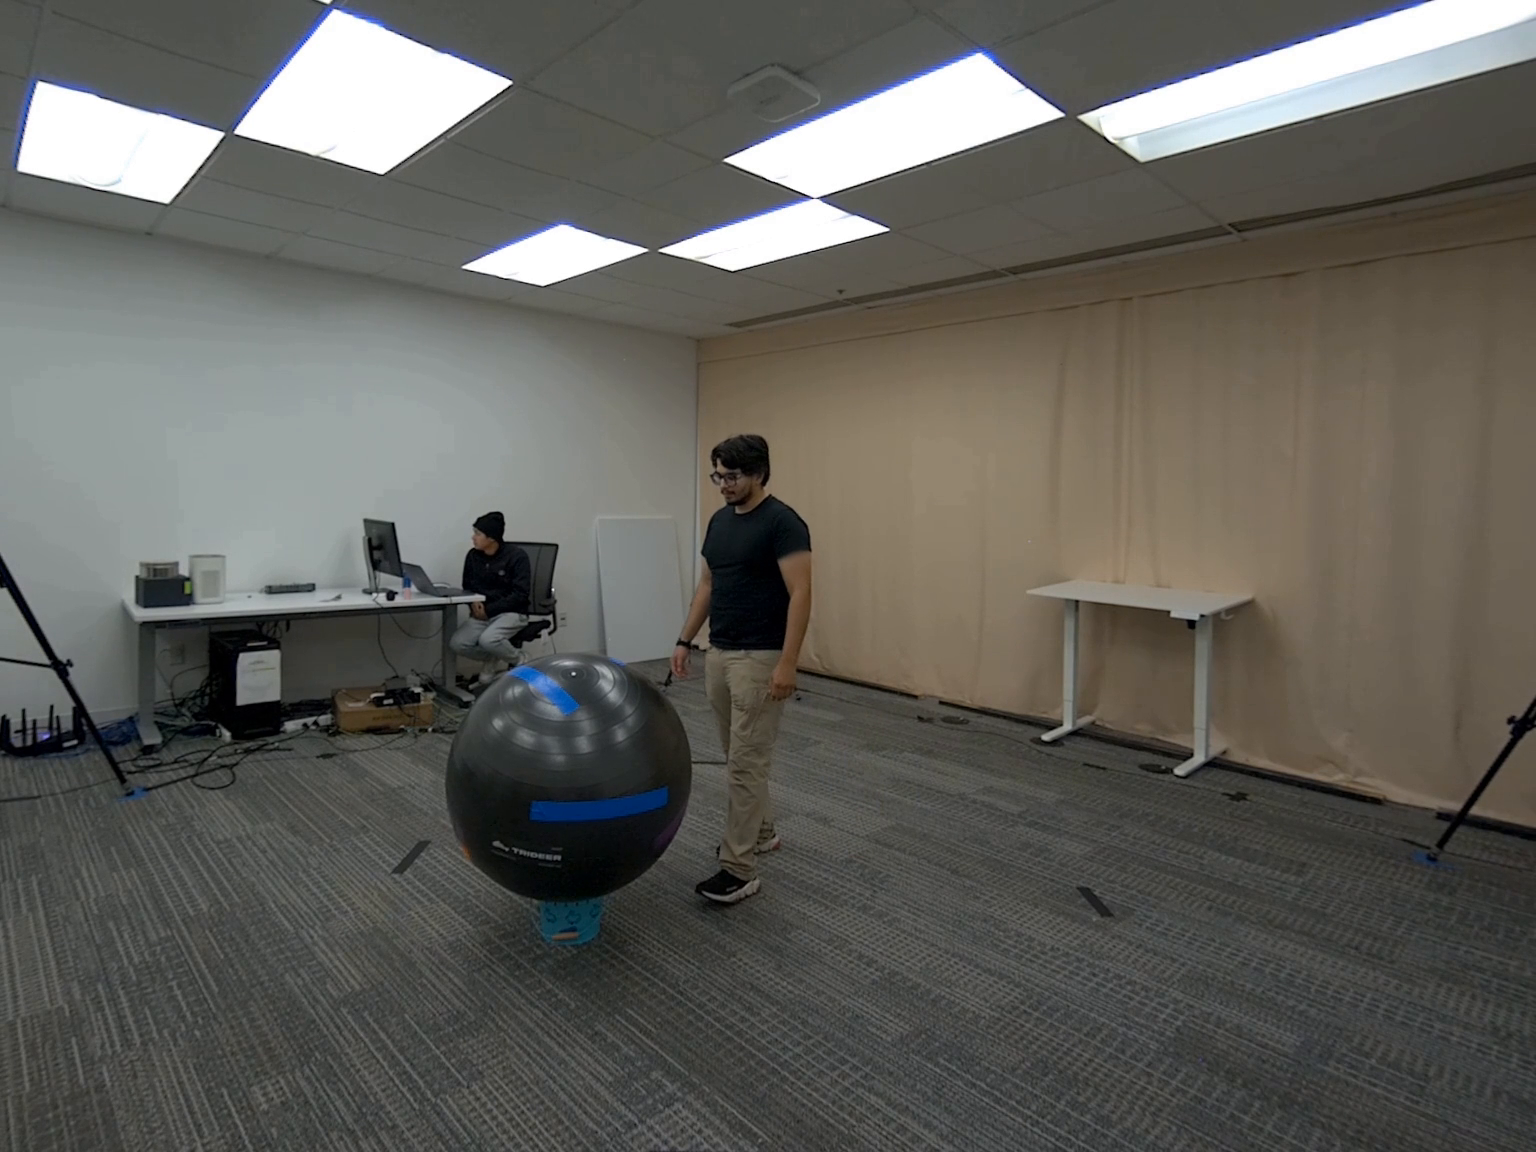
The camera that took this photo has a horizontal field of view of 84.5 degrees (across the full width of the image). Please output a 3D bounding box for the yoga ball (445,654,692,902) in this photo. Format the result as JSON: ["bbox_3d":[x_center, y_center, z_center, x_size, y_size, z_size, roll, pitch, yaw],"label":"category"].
[{"bbox_3d":[-0.624,0.633,2.648,0.757,0.756,0.760,1,4,-1],"label":"yoga ball"}]
